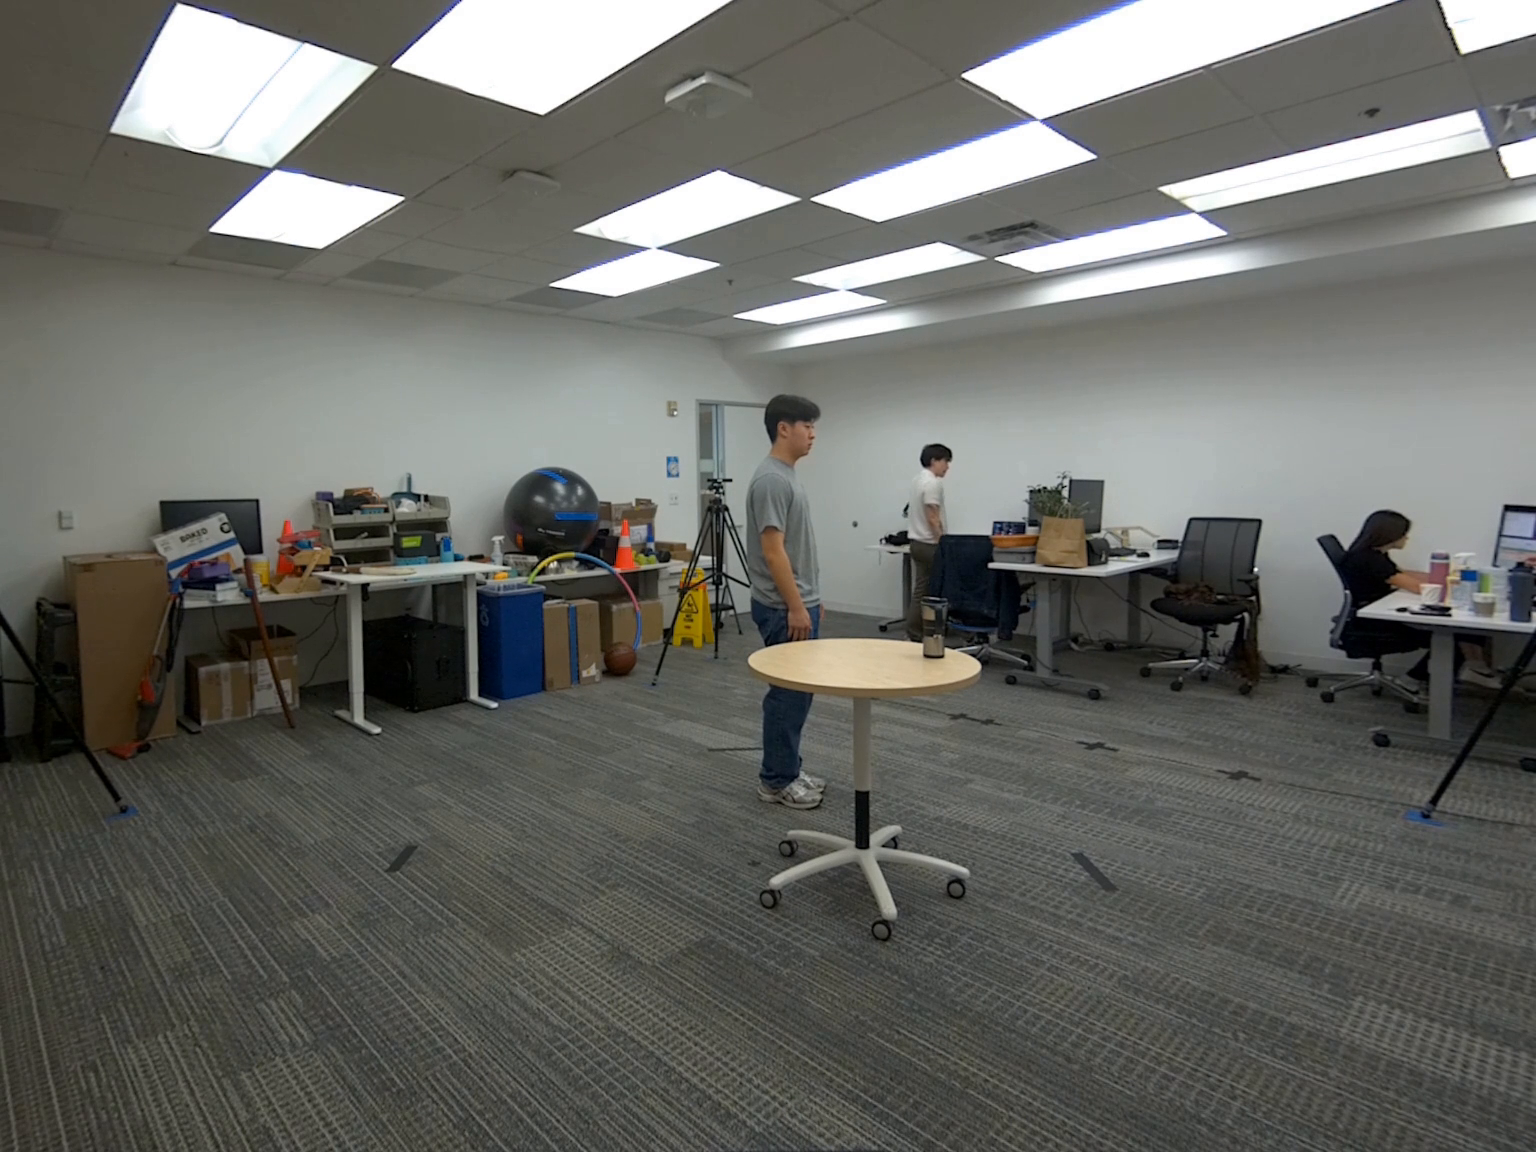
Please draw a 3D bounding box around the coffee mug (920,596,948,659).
[{"bbox_3d":[0.549,0.175,2.889,0.090,0.202,0.119,4,4,28],"label":"coffee mug"}]
